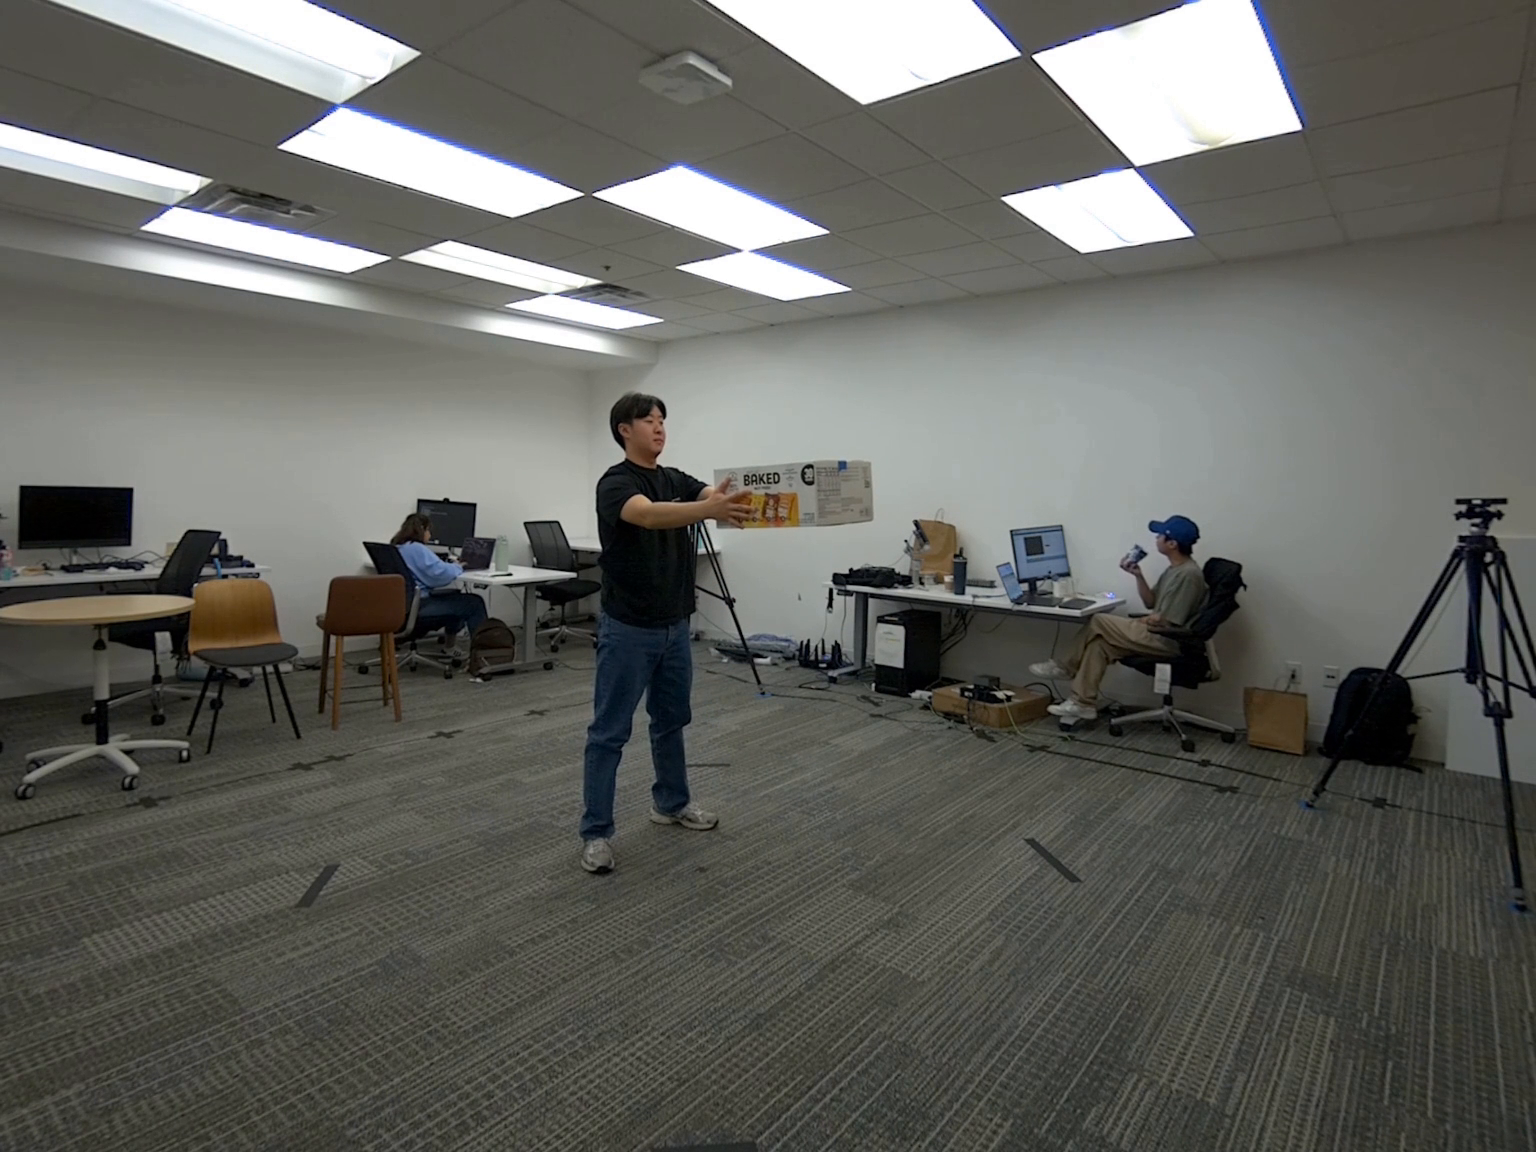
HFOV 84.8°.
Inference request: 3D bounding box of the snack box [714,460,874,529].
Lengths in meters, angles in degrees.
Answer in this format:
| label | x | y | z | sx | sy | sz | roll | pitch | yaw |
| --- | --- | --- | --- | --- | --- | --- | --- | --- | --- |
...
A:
| label | x | y | z | sx | sy | sz | roll | pitch | yaw |
| --- | --- | --- | --- | --- | --- | --- | --- | --- | --- |
| snack box | 0.075 | -0.275 | 2.845 | 0.418 | 0.205 | 0.331 | 1 | 6 | 39 |
